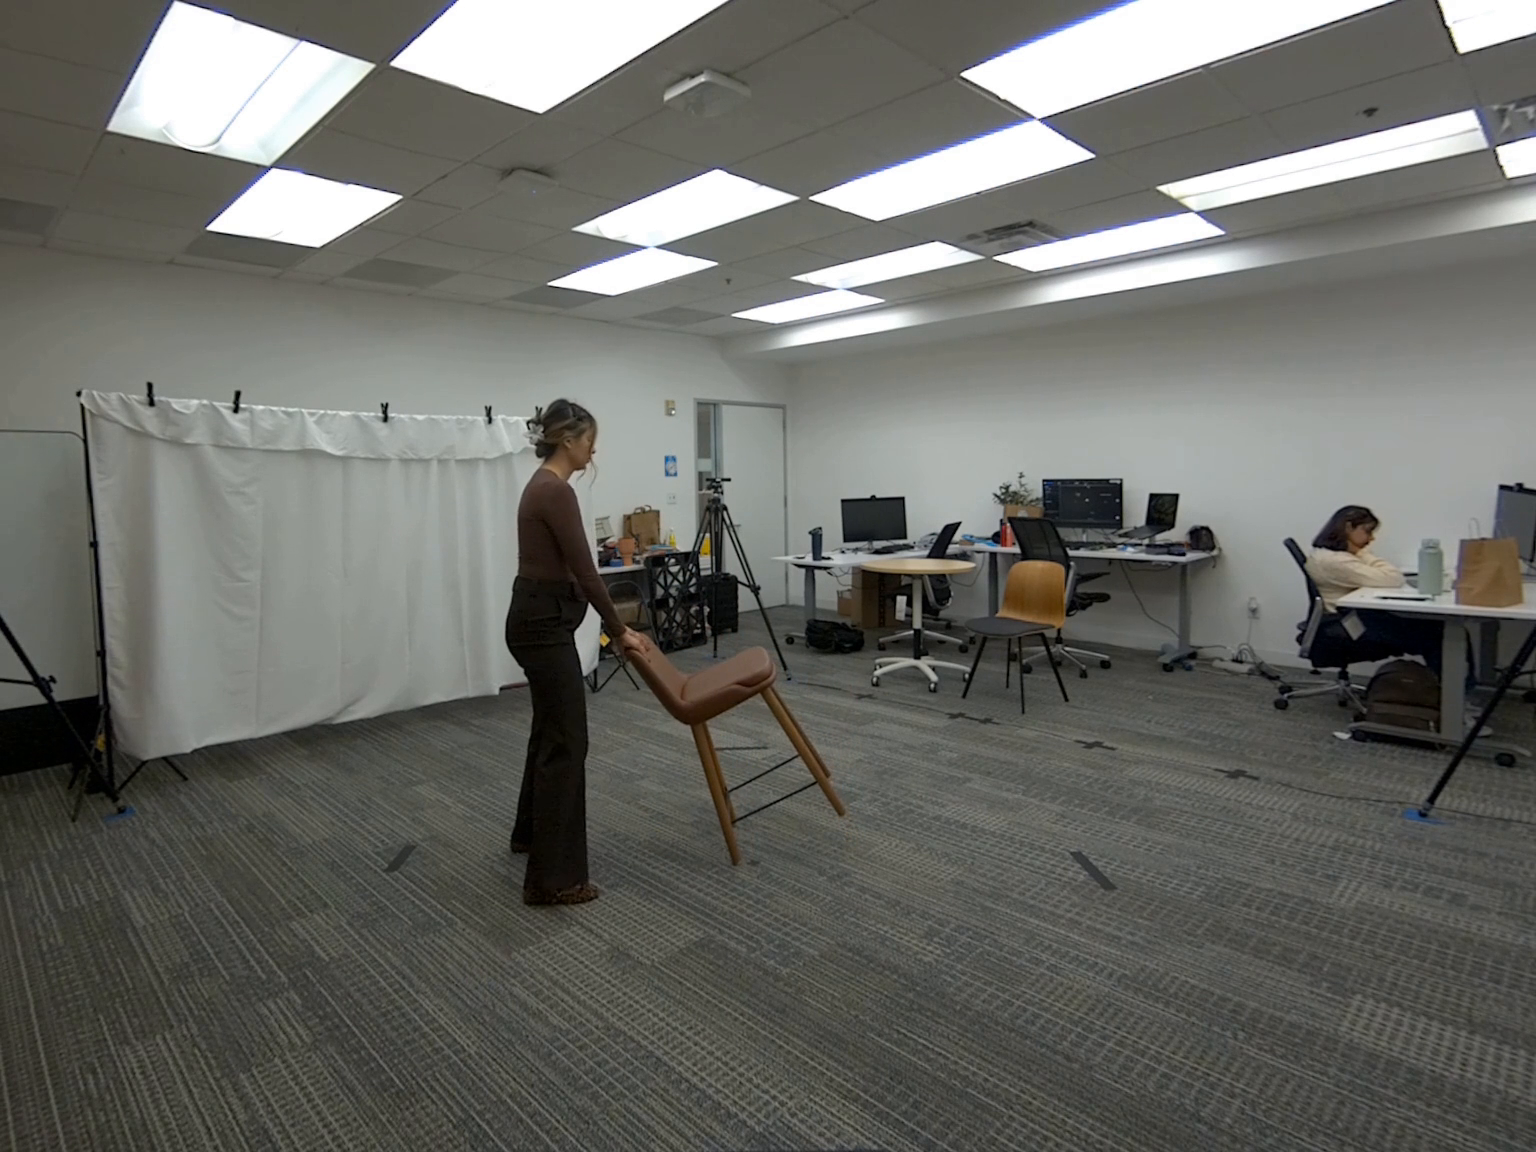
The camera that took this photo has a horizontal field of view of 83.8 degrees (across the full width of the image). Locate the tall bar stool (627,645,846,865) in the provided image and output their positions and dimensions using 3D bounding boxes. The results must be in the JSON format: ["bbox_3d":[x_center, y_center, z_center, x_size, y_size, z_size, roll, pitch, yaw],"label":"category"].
[{"bbox_3d":[-0.136,0.538,3.246,0.468,0.886,0.458,-28,4,1],"label":"tall bar stool"}]
